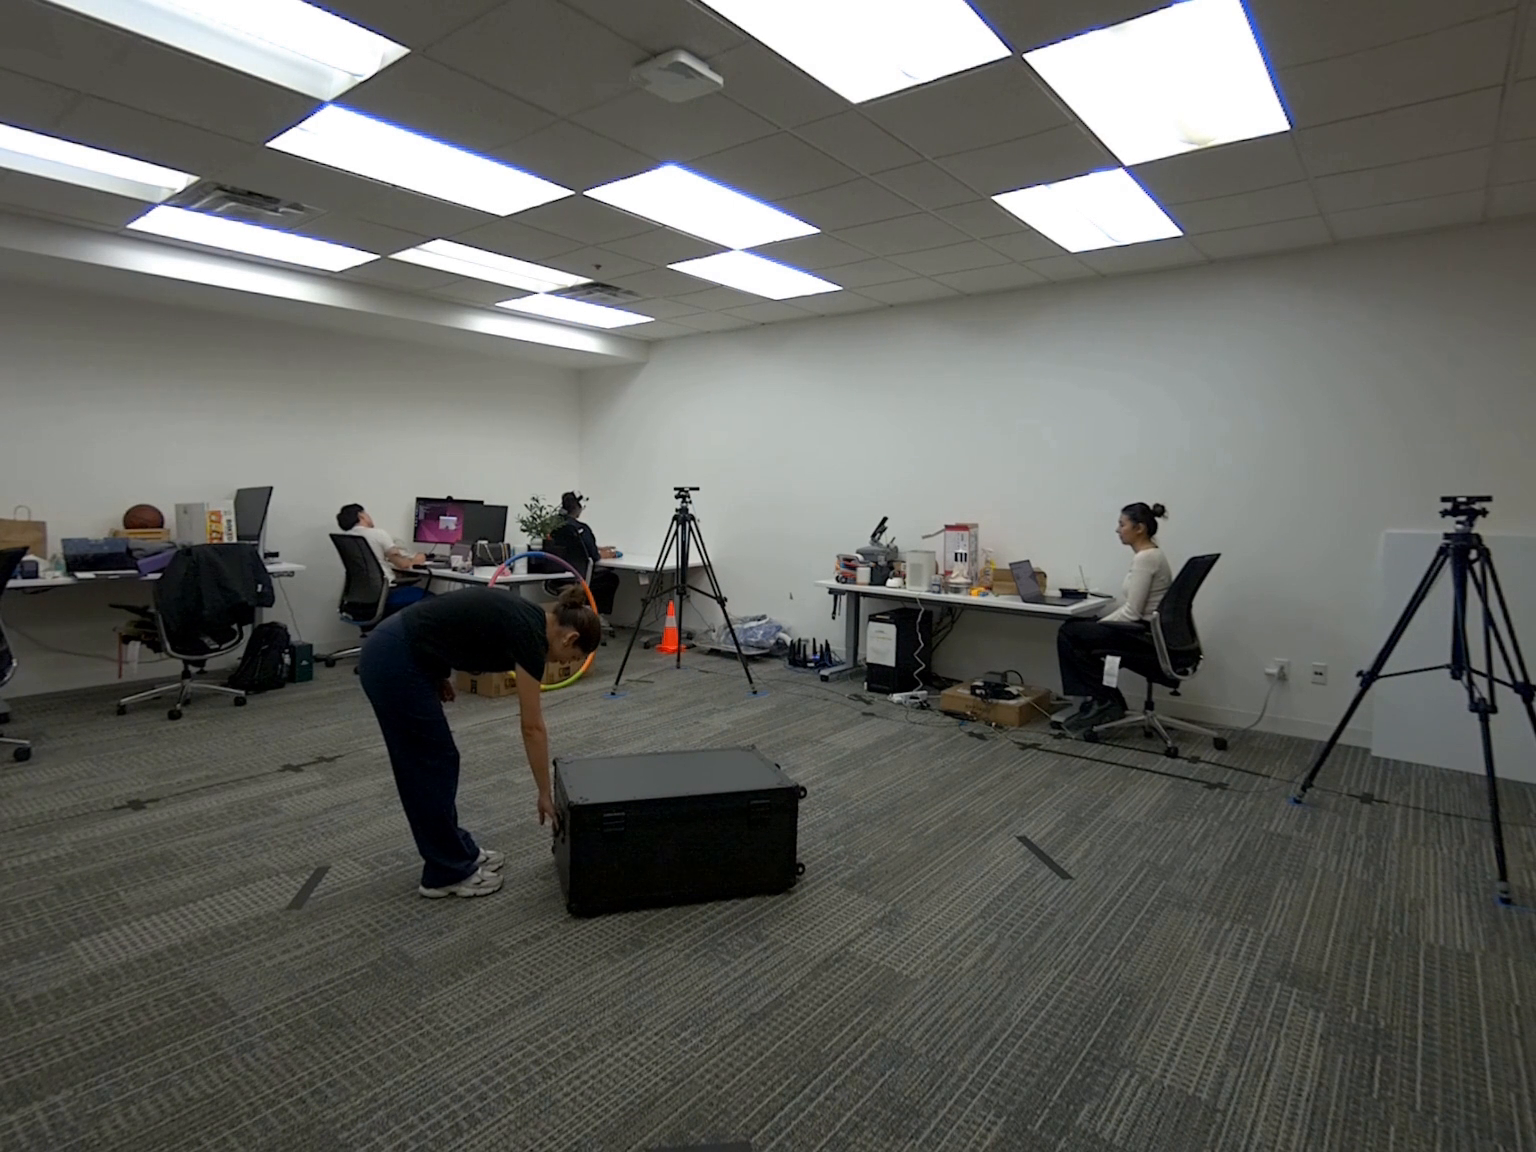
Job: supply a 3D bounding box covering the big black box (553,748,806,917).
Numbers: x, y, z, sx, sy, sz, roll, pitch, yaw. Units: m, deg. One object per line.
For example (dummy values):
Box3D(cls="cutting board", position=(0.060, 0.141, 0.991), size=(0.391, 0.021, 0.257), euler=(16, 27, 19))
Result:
Box3D(cls="big black box", position=(-0.302, 0.875, 3.056), size=(0.846, 0.395, 0.533), euler=(-1, 5, -18))
